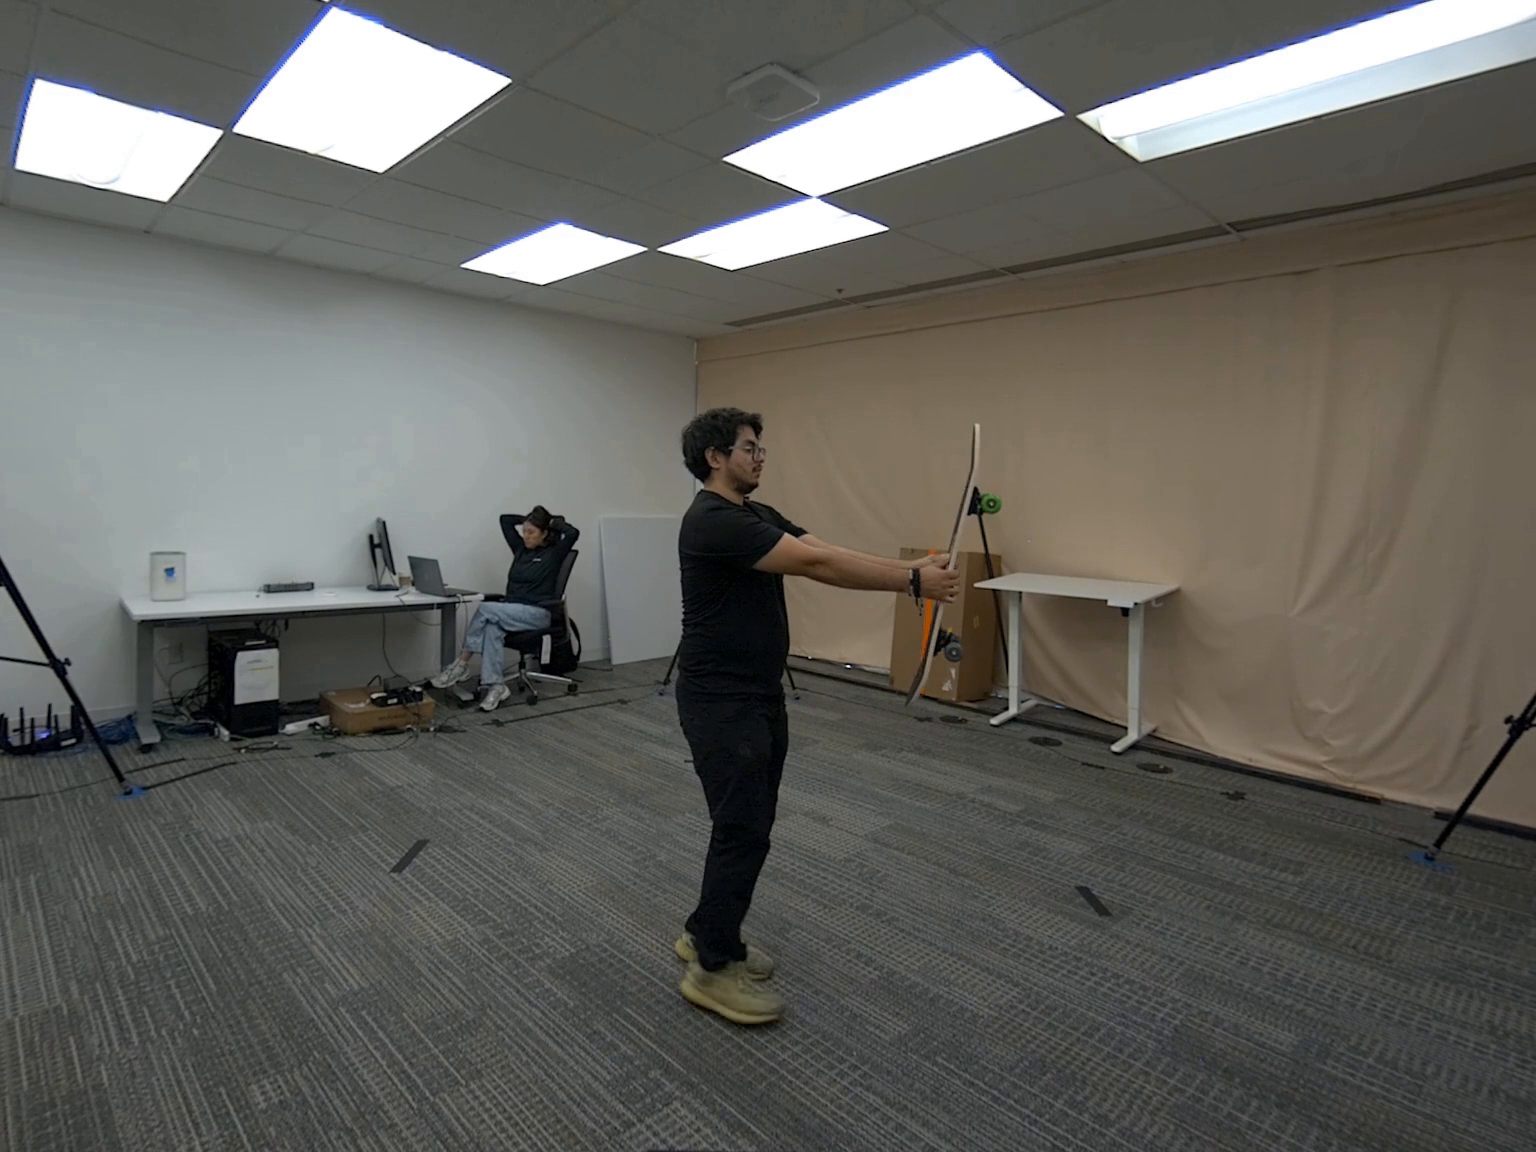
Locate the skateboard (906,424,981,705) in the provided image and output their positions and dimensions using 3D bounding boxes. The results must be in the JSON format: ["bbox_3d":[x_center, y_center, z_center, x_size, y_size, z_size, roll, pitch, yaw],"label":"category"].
[{"bbox_3d":[0.510,-0.007,2.246,0.111,0.781,0.193,14,9,8],"label":"skateboard"}]
